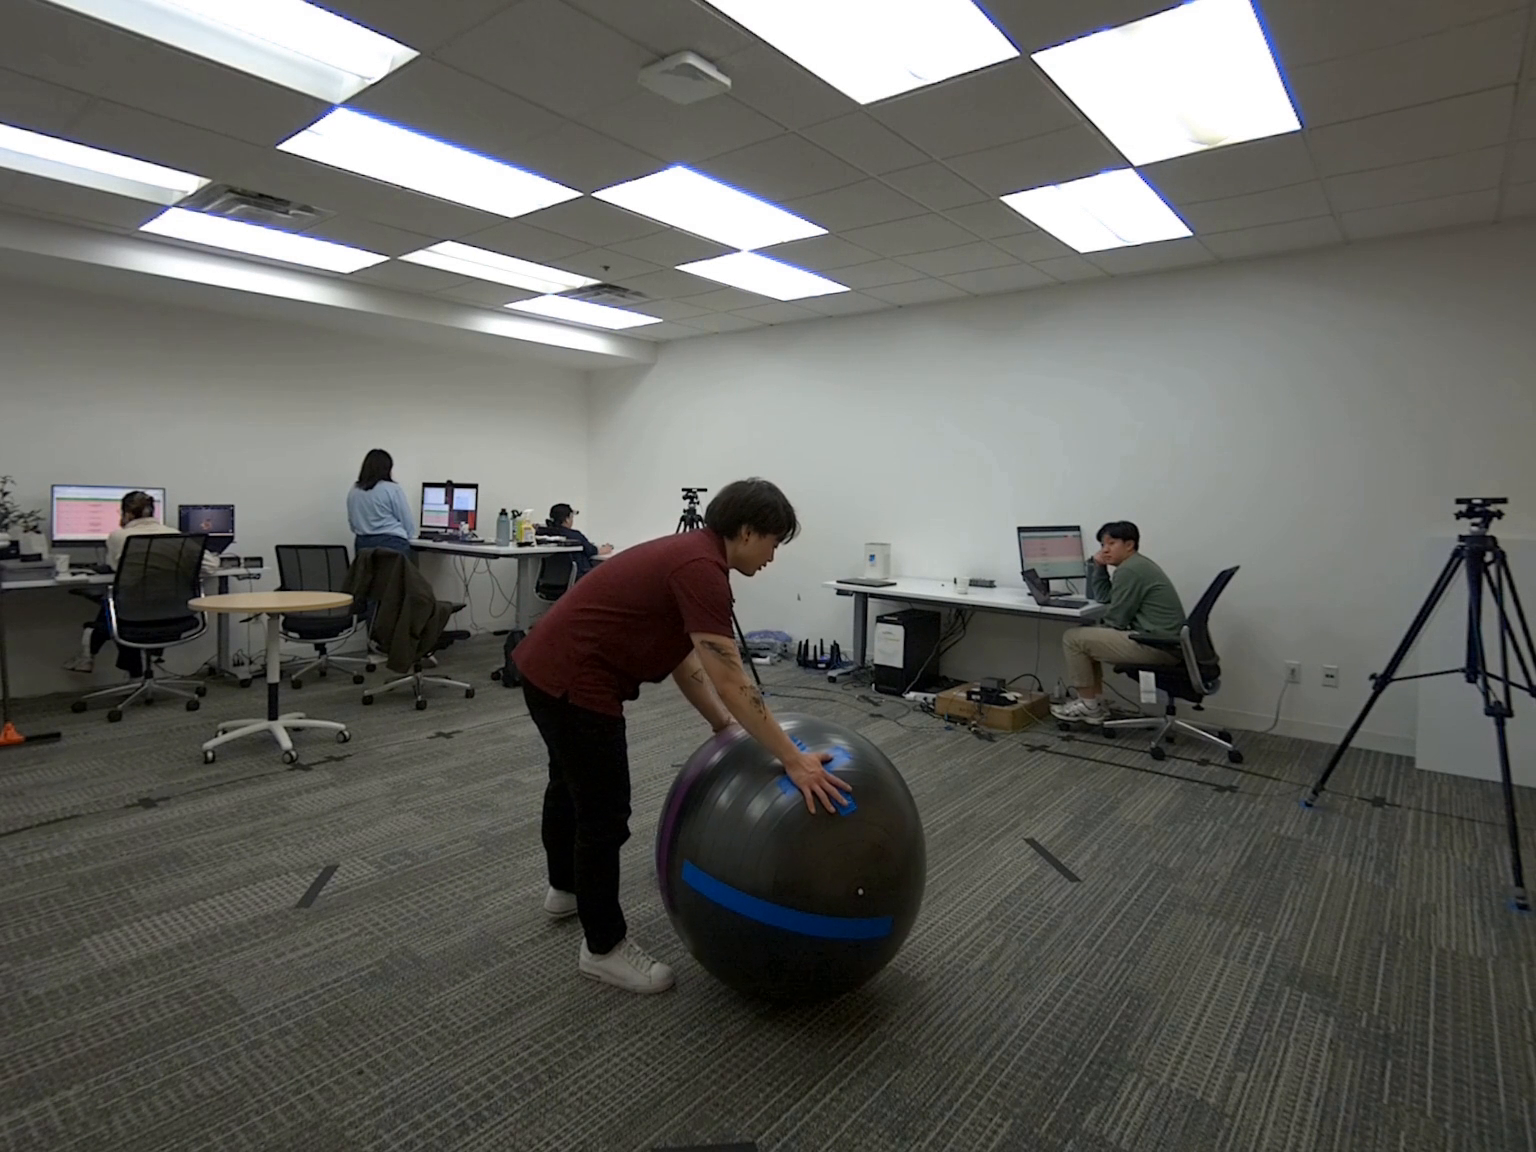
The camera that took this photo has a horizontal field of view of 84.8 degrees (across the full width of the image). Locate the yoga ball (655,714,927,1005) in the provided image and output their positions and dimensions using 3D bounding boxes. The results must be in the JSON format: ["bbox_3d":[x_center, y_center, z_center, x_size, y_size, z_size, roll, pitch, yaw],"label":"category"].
[{"bbox_3d":[0.054,0.777,2.401,0.757,0.755,0.762,1,4,-2],"label":"yoga ball"}]
